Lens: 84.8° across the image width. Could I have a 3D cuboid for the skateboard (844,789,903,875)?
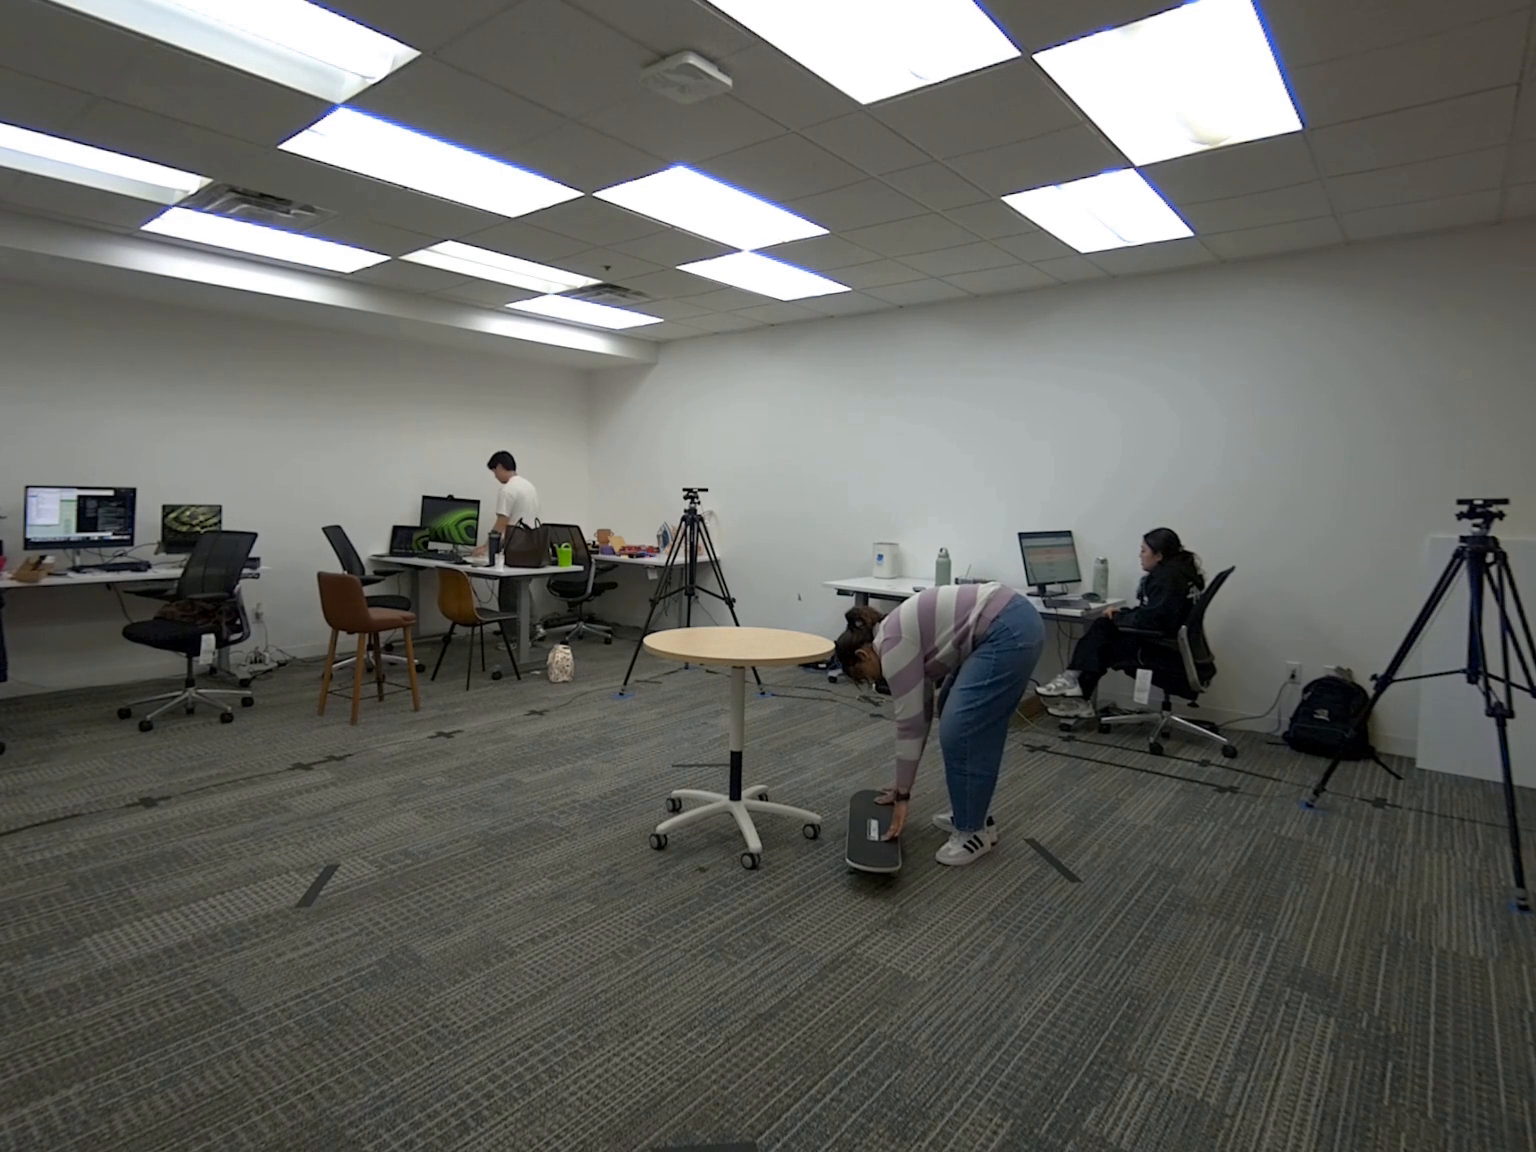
[{"bbox_3d":[0.393,1.010,3.289,0.195,0.110,0.781,1,5,6],"label":"skateboard"}]
